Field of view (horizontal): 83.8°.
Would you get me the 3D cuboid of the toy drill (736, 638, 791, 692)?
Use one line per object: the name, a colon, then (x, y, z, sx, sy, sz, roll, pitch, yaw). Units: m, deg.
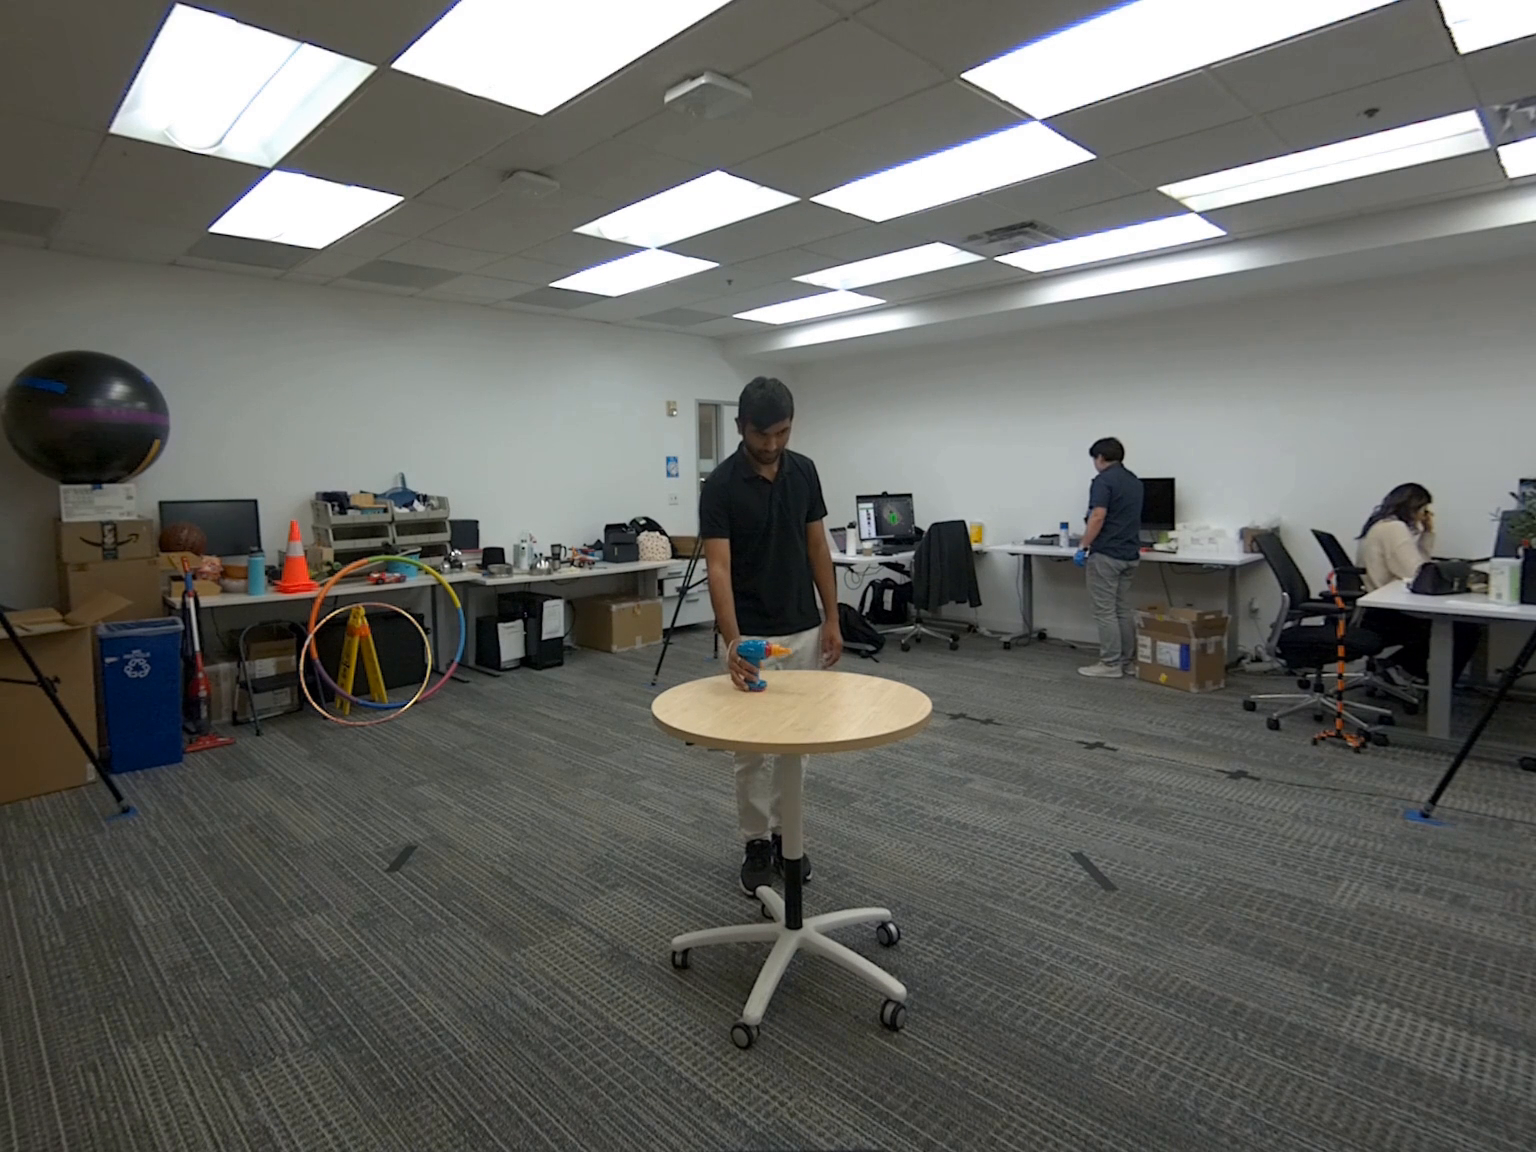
toy drill: (-0.013, 0.249, 2.477, 0.173, 0.145, 0.060, -3, 3, 23)
